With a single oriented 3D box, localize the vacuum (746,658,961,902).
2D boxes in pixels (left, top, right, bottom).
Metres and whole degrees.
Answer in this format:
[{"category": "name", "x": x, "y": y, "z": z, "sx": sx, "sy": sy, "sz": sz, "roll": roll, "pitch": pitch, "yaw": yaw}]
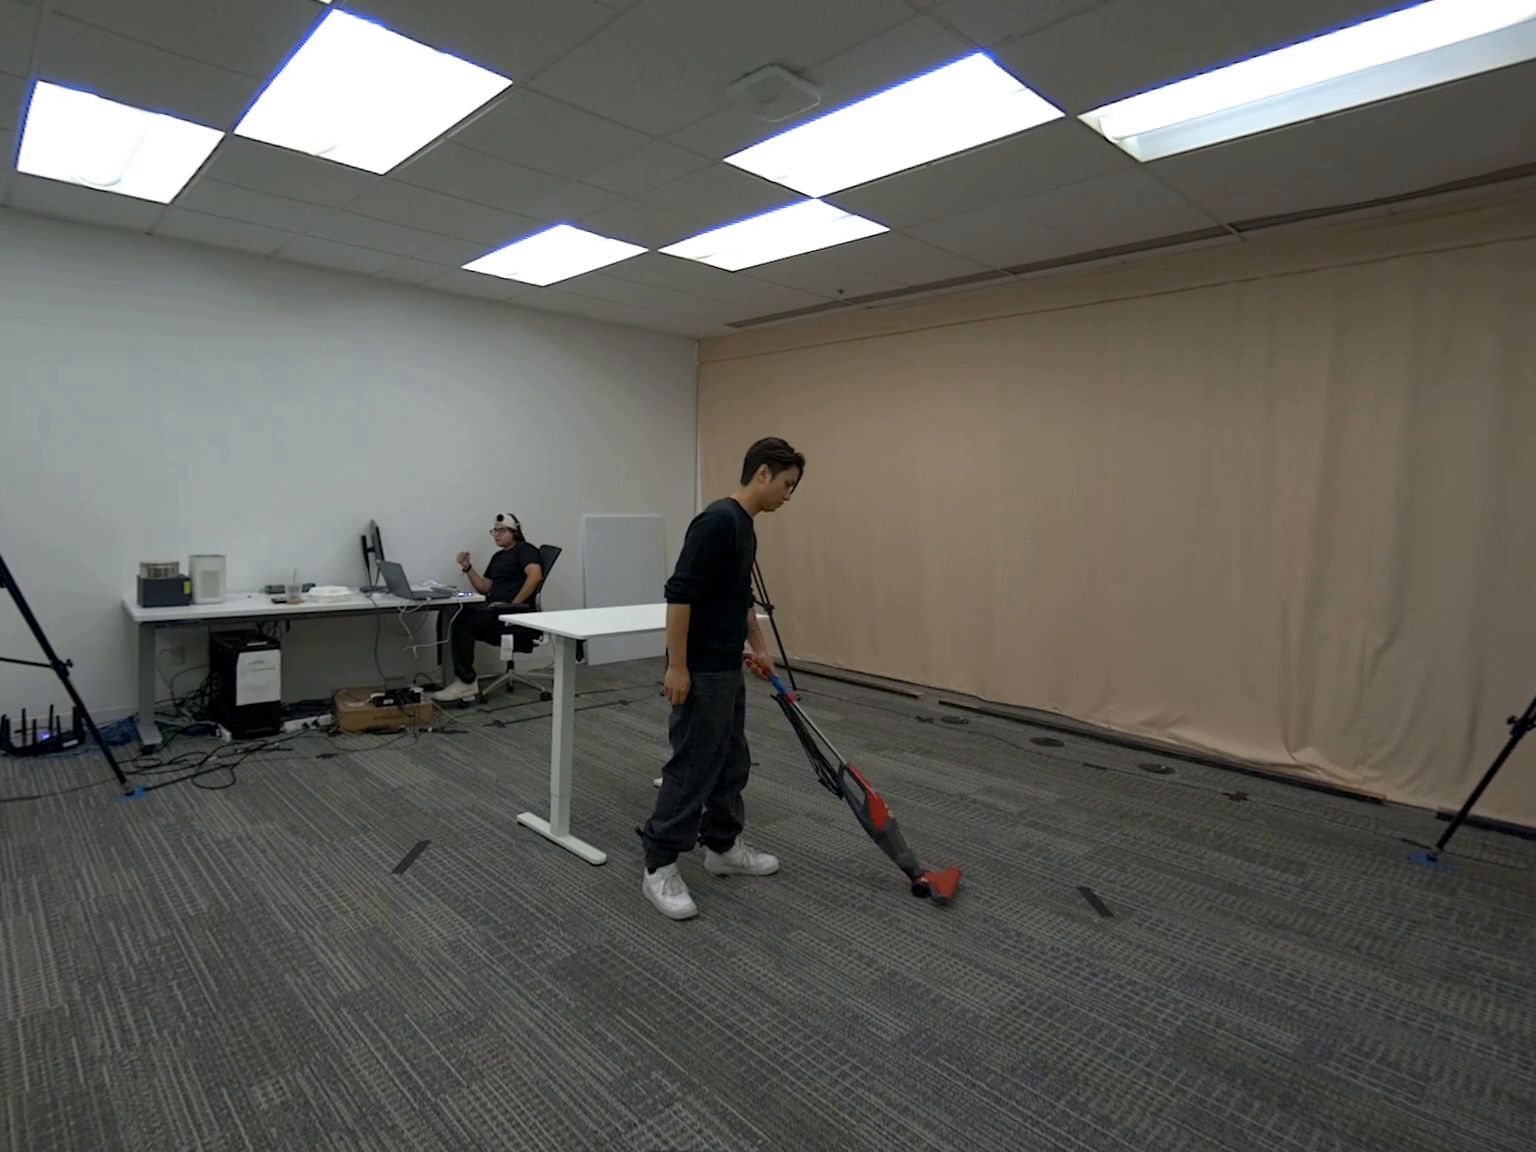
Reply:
[{"category": "vacuum", "x": 0.262, "y": 0.729, "z": 3.145, "sx": 1.067, "sy": 0.144, "sz": 0.248, "roll": 48, "pitch": 18, "yaw": 15}]
